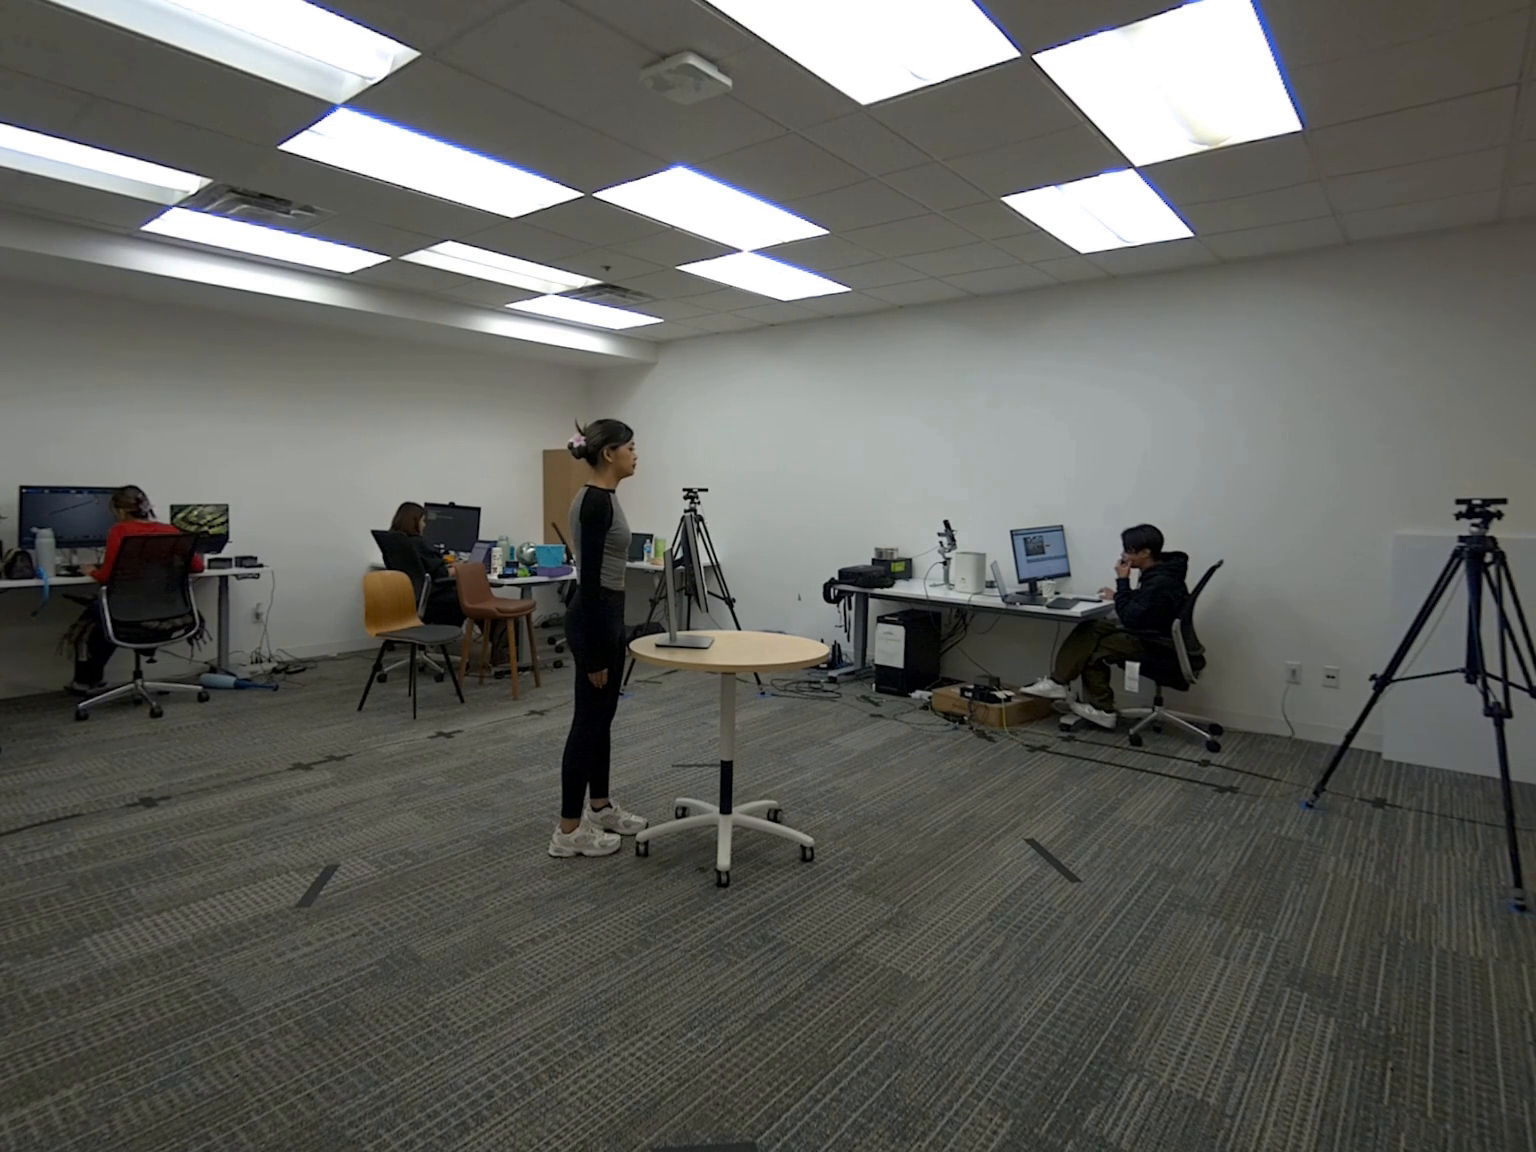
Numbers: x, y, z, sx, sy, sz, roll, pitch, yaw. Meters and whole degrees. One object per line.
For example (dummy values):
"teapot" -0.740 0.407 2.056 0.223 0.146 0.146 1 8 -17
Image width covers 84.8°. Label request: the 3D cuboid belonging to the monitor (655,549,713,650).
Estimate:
"monitor" -0.329 0.013 3.292 0.186 0.521 0.543 2 3 -6
